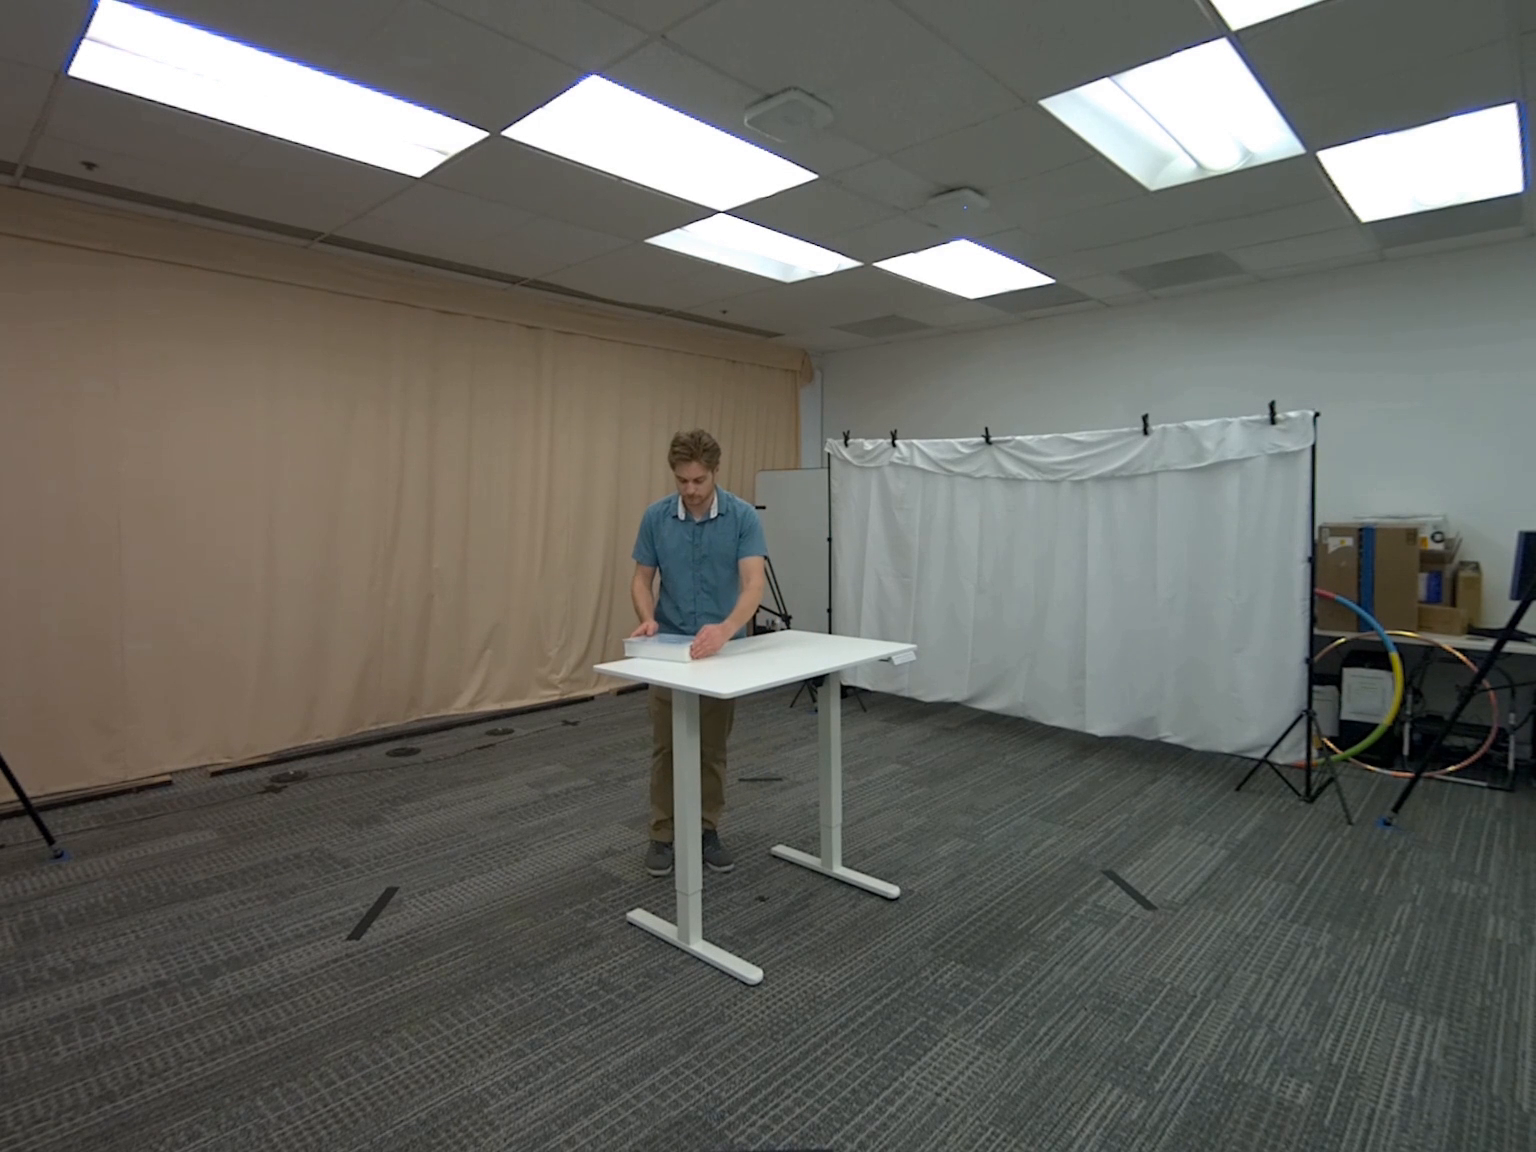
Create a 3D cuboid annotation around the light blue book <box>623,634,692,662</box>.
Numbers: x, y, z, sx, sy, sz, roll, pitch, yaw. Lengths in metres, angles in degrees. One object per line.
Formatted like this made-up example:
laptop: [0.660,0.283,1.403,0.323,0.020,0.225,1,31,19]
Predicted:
light blue book: [-0.337,0.248,2.904,0.268,0.059,0.186,2,4,29]
